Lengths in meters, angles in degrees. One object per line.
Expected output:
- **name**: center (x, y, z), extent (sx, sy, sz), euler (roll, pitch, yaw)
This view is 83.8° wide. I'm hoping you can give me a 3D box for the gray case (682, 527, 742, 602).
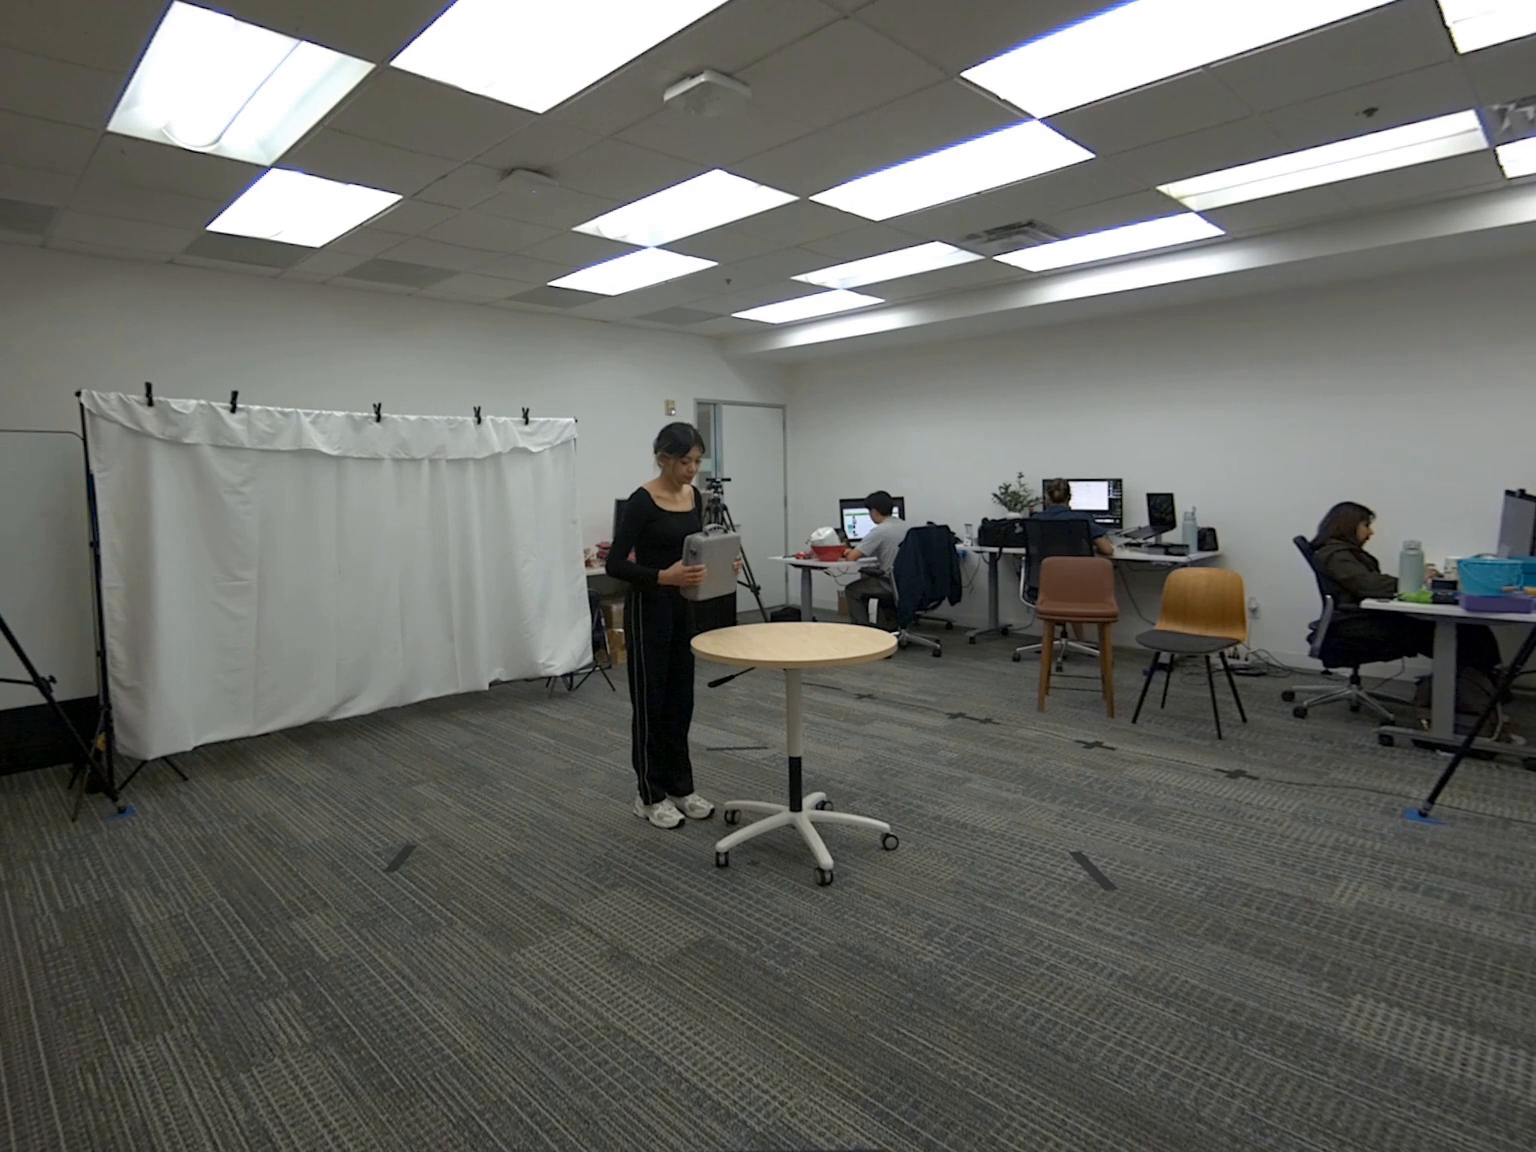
- **gray case**: center (-0.225, -0.047, 3.350), extent (0.108, 0.258, 0.251), euler (15, 17, 36)
